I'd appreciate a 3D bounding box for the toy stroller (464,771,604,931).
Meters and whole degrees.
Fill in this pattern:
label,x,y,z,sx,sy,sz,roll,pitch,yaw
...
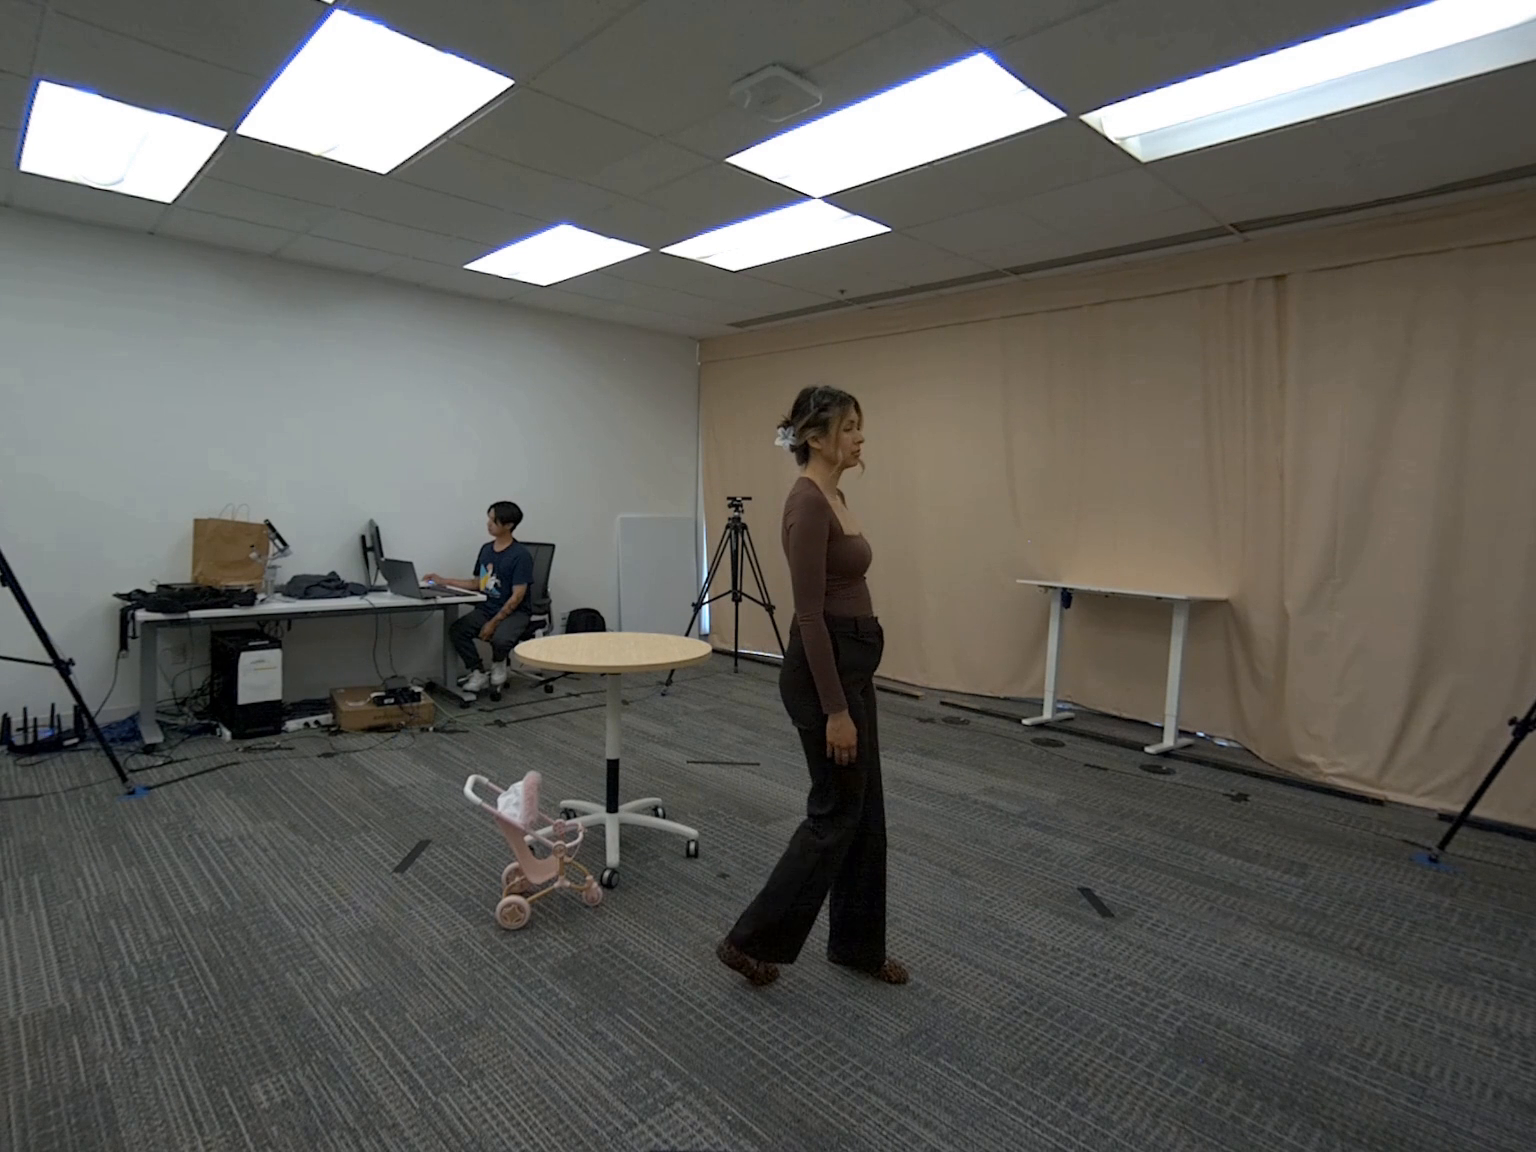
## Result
label,x,y,z,sx,sy,sz,roll,pitch,yaw
toy stroller,-0.779,0.892,2.808,0.340,0.532,0.284,-13,6,-6
